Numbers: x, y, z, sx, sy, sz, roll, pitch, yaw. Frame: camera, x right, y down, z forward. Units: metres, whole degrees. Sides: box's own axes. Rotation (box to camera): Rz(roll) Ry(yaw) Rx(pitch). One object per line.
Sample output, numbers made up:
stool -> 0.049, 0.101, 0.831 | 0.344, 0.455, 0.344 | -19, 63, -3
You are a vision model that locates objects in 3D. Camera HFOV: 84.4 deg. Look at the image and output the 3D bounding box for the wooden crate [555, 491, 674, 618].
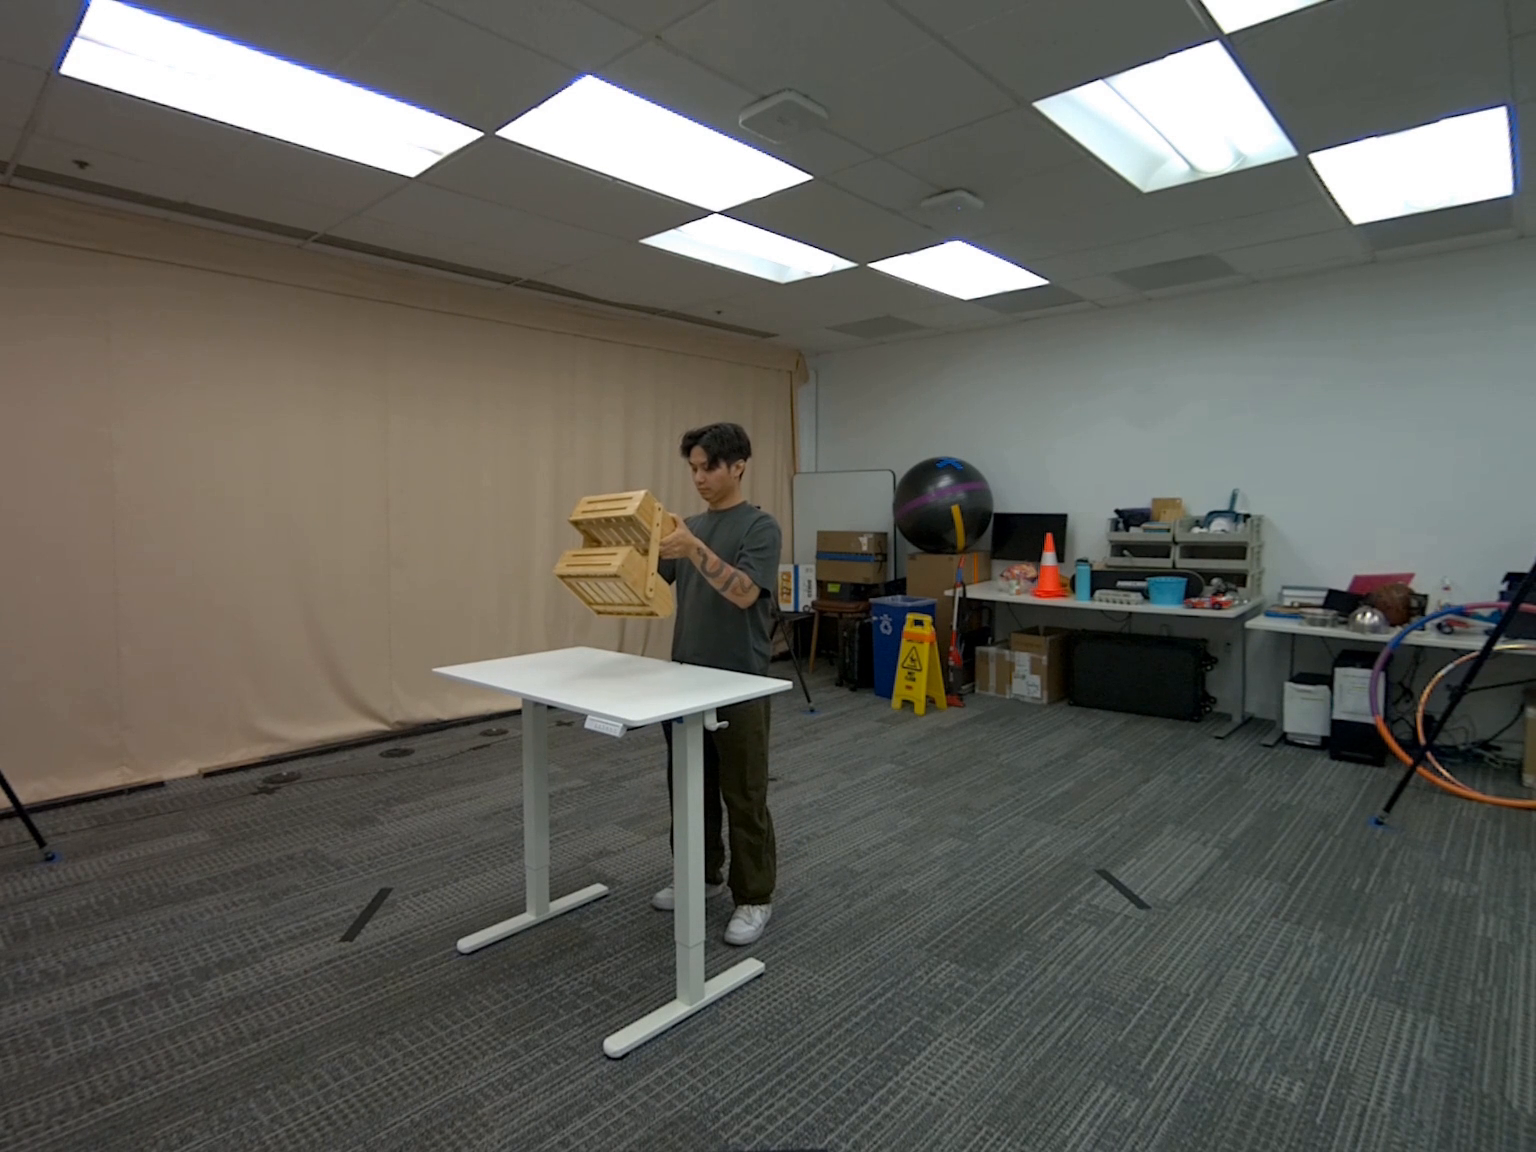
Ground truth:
wooden crate -> -0.439, -0.056, 2.568 | 0.334, 0.274, 0.292 | -1, -38, 39
